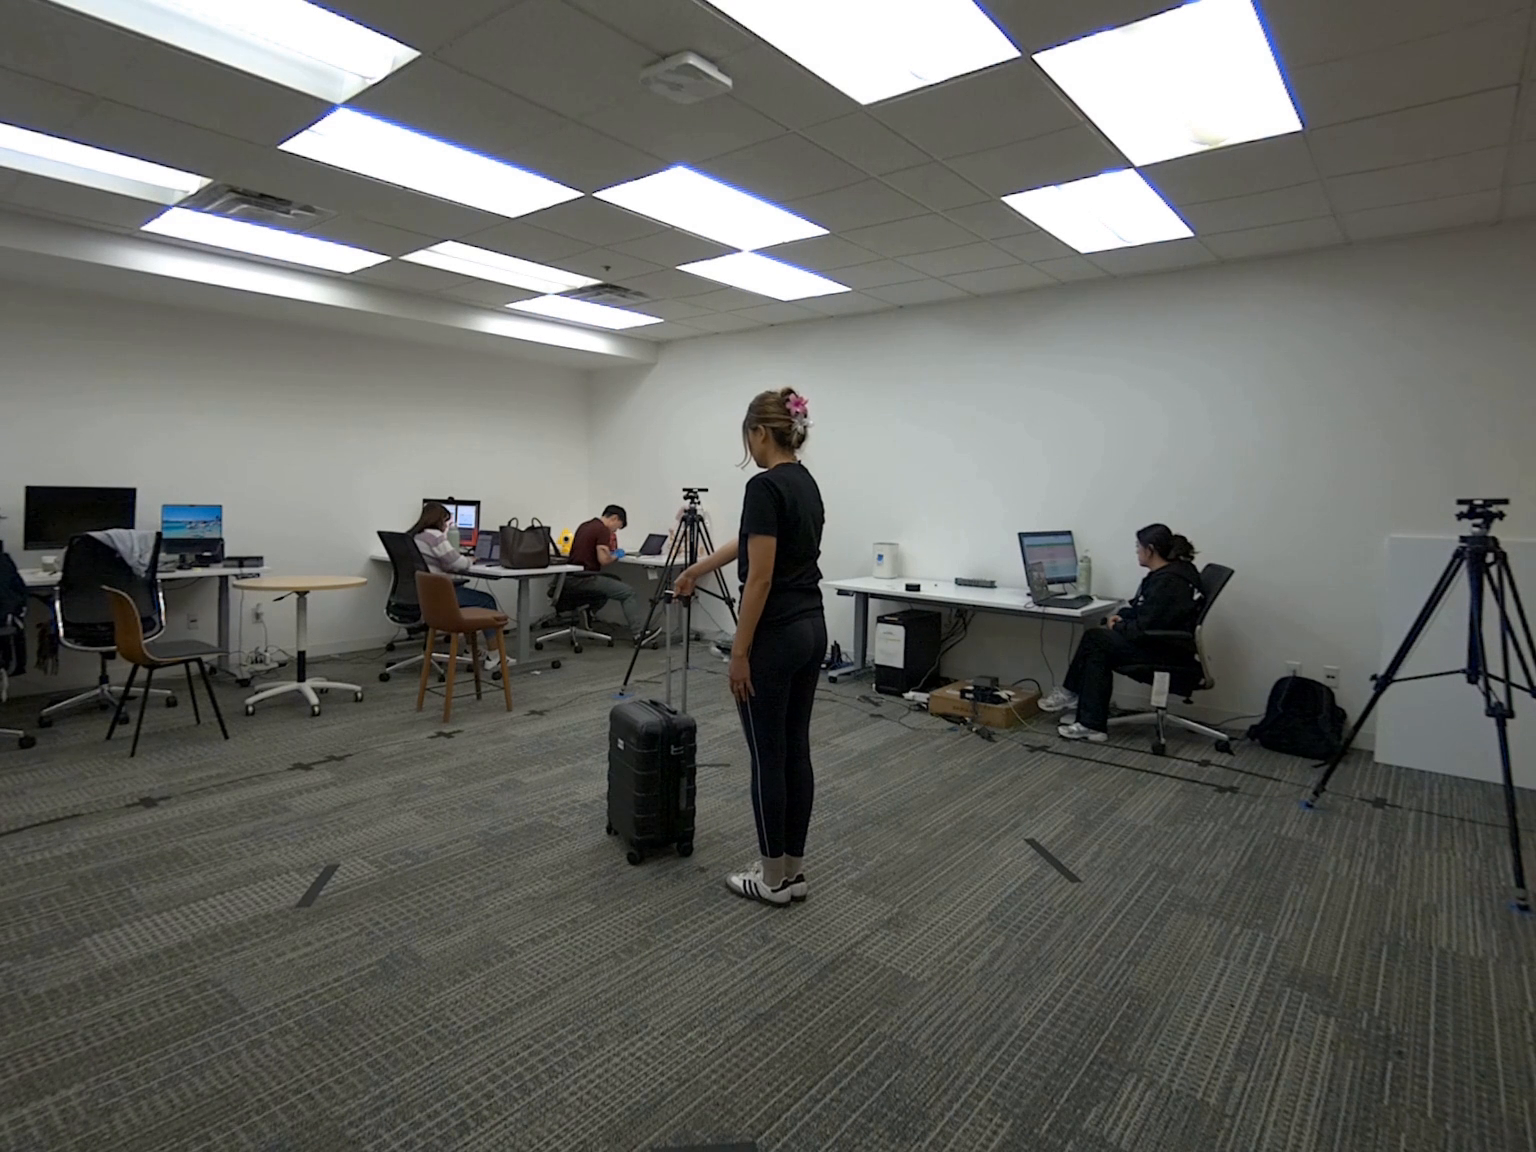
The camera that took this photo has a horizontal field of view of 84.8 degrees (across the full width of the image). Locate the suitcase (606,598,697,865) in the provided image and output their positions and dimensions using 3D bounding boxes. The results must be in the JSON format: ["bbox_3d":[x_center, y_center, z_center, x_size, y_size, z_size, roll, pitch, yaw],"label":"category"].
[{"bbox_3d":[-0.466,0.572,3.298,0.250,0.976,0.395,-1,3,-28],"label":"suitcase"}]
